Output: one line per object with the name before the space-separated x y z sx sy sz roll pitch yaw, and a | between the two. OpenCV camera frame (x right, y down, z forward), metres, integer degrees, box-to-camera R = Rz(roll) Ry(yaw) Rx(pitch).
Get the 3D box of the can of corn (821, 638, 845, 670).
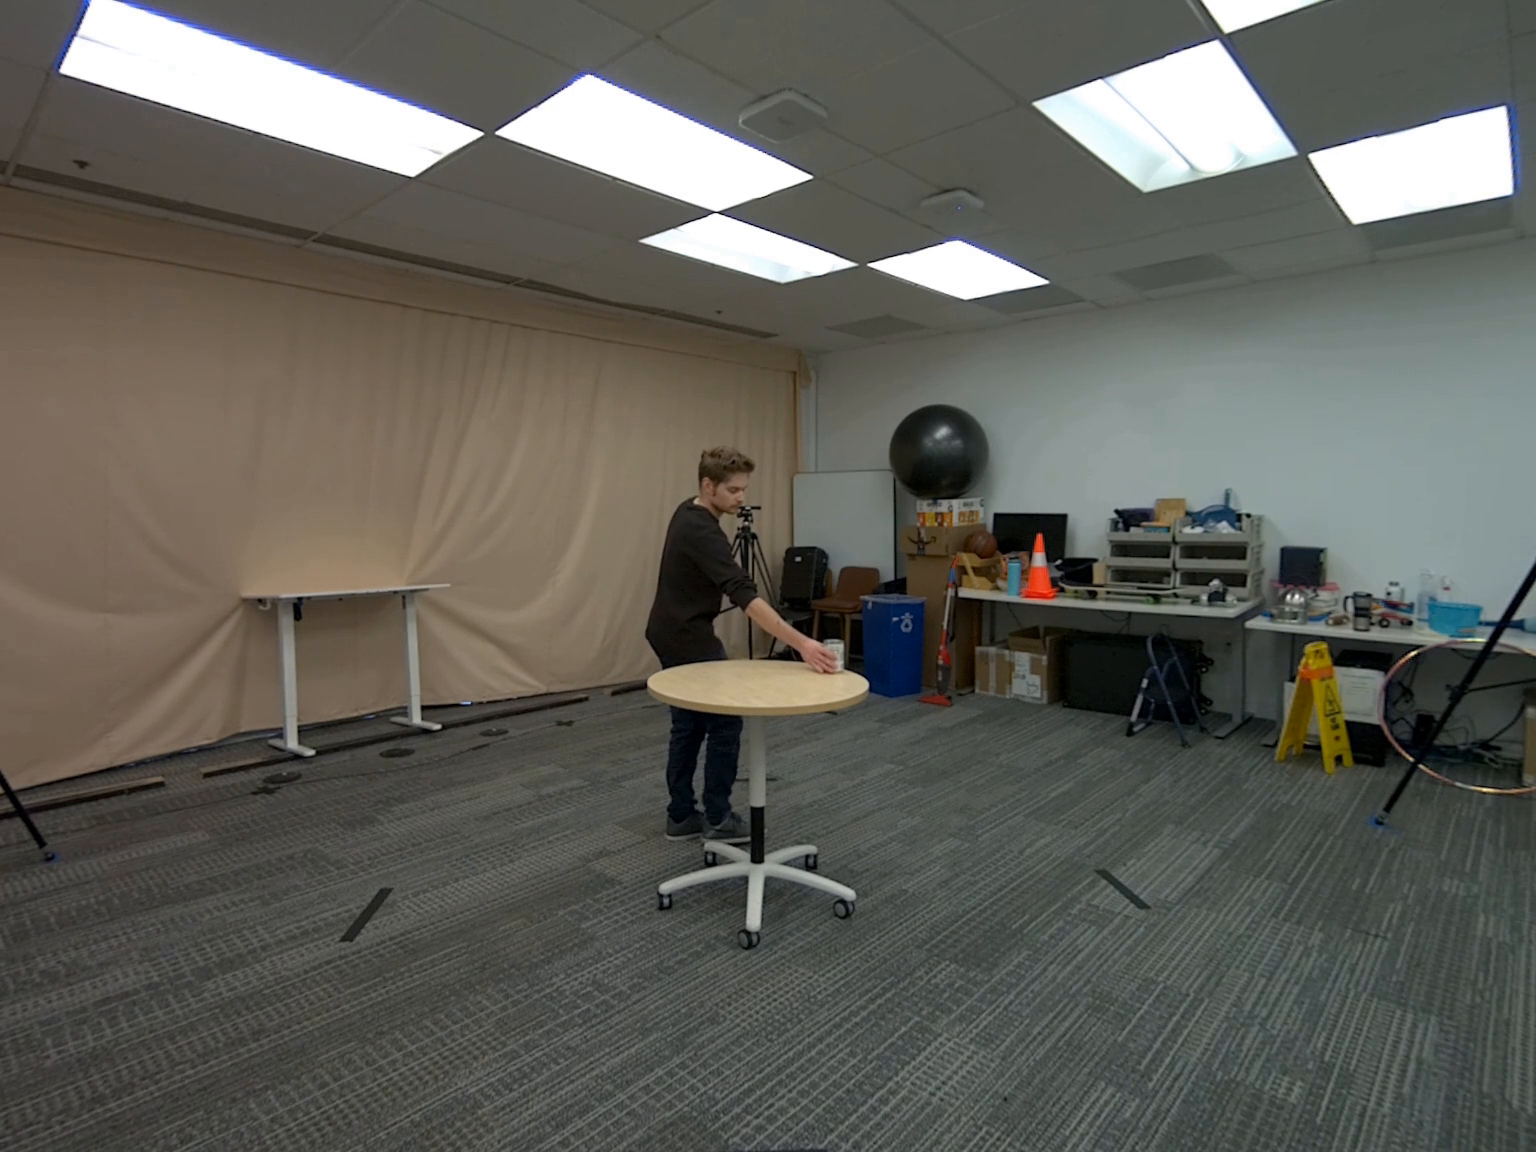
can of corn | 0.246 0.297 3.068 0.074 0.111 0.074 2 4 -2
